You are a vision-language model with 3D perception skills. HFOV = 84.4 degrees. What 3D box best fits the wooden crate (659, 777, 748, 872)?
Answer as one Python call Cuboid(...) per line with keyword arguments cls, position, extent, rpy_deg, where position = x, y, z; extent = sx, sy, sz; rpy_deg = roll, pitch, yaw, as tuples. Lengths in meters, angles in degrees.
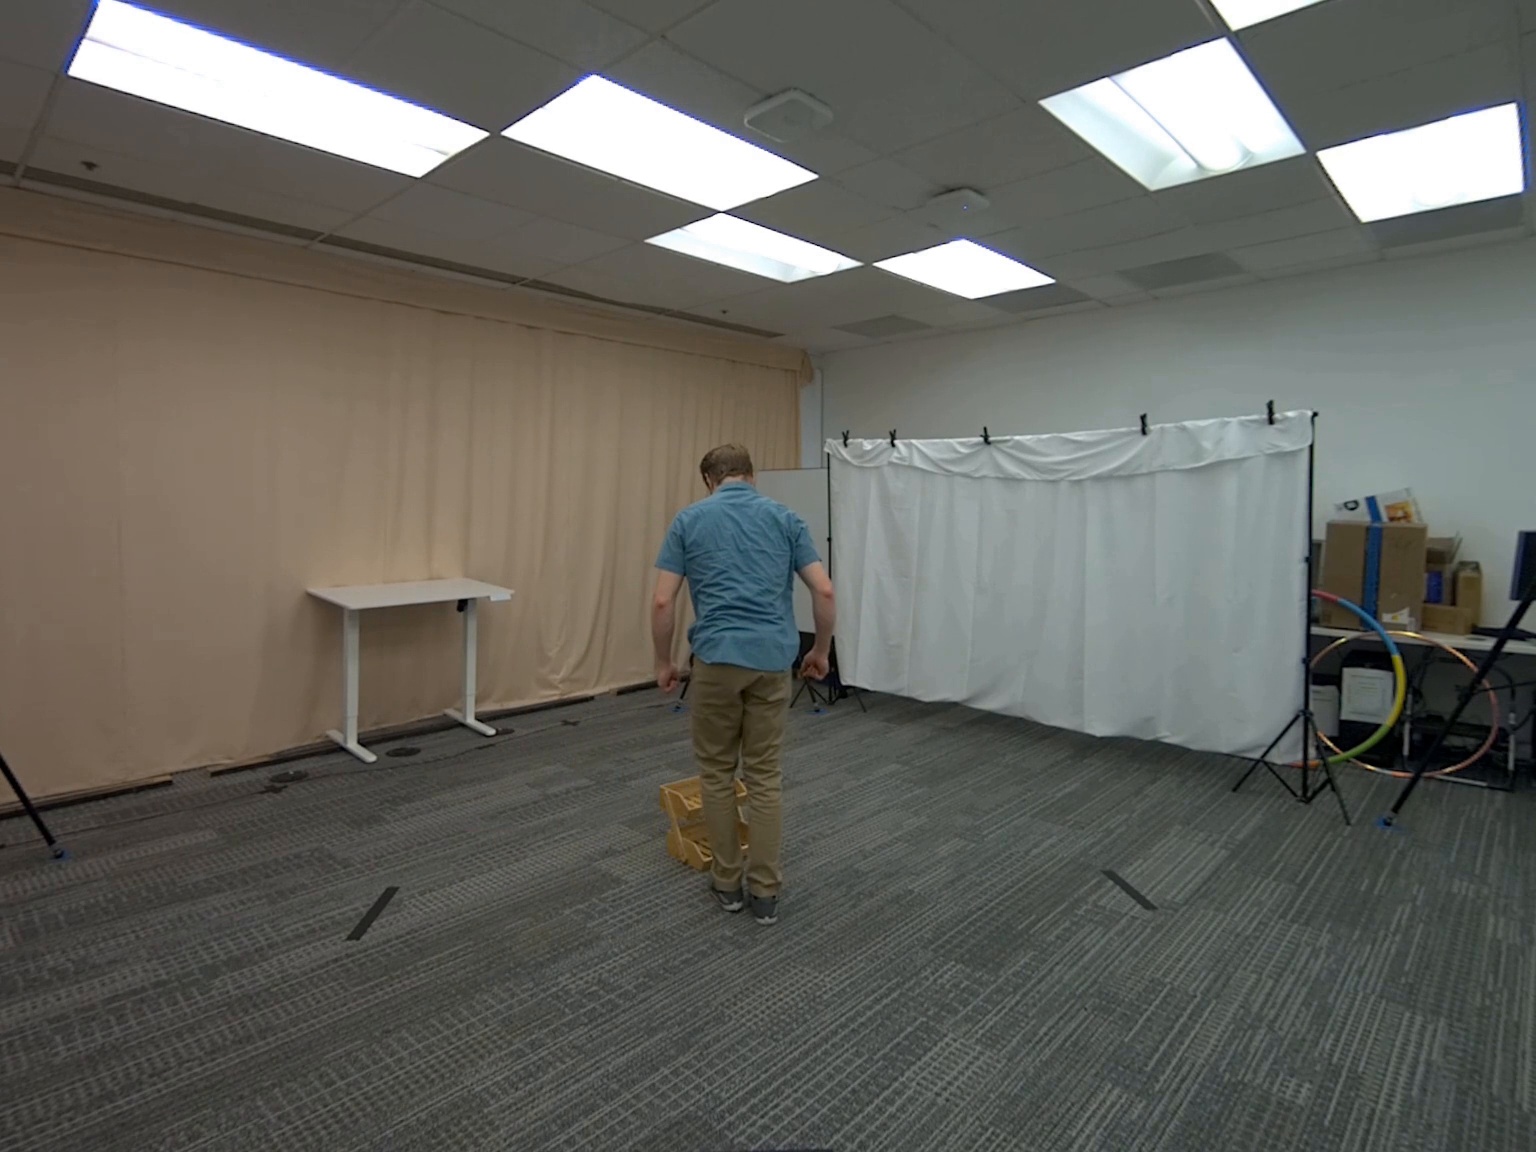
Cuboid(cls="wooden crate", position=(-0.230, 0.977, 3.393), extent=(0.315, 0.273, 0.312), rpy_deg=(-4, 5, -39))
